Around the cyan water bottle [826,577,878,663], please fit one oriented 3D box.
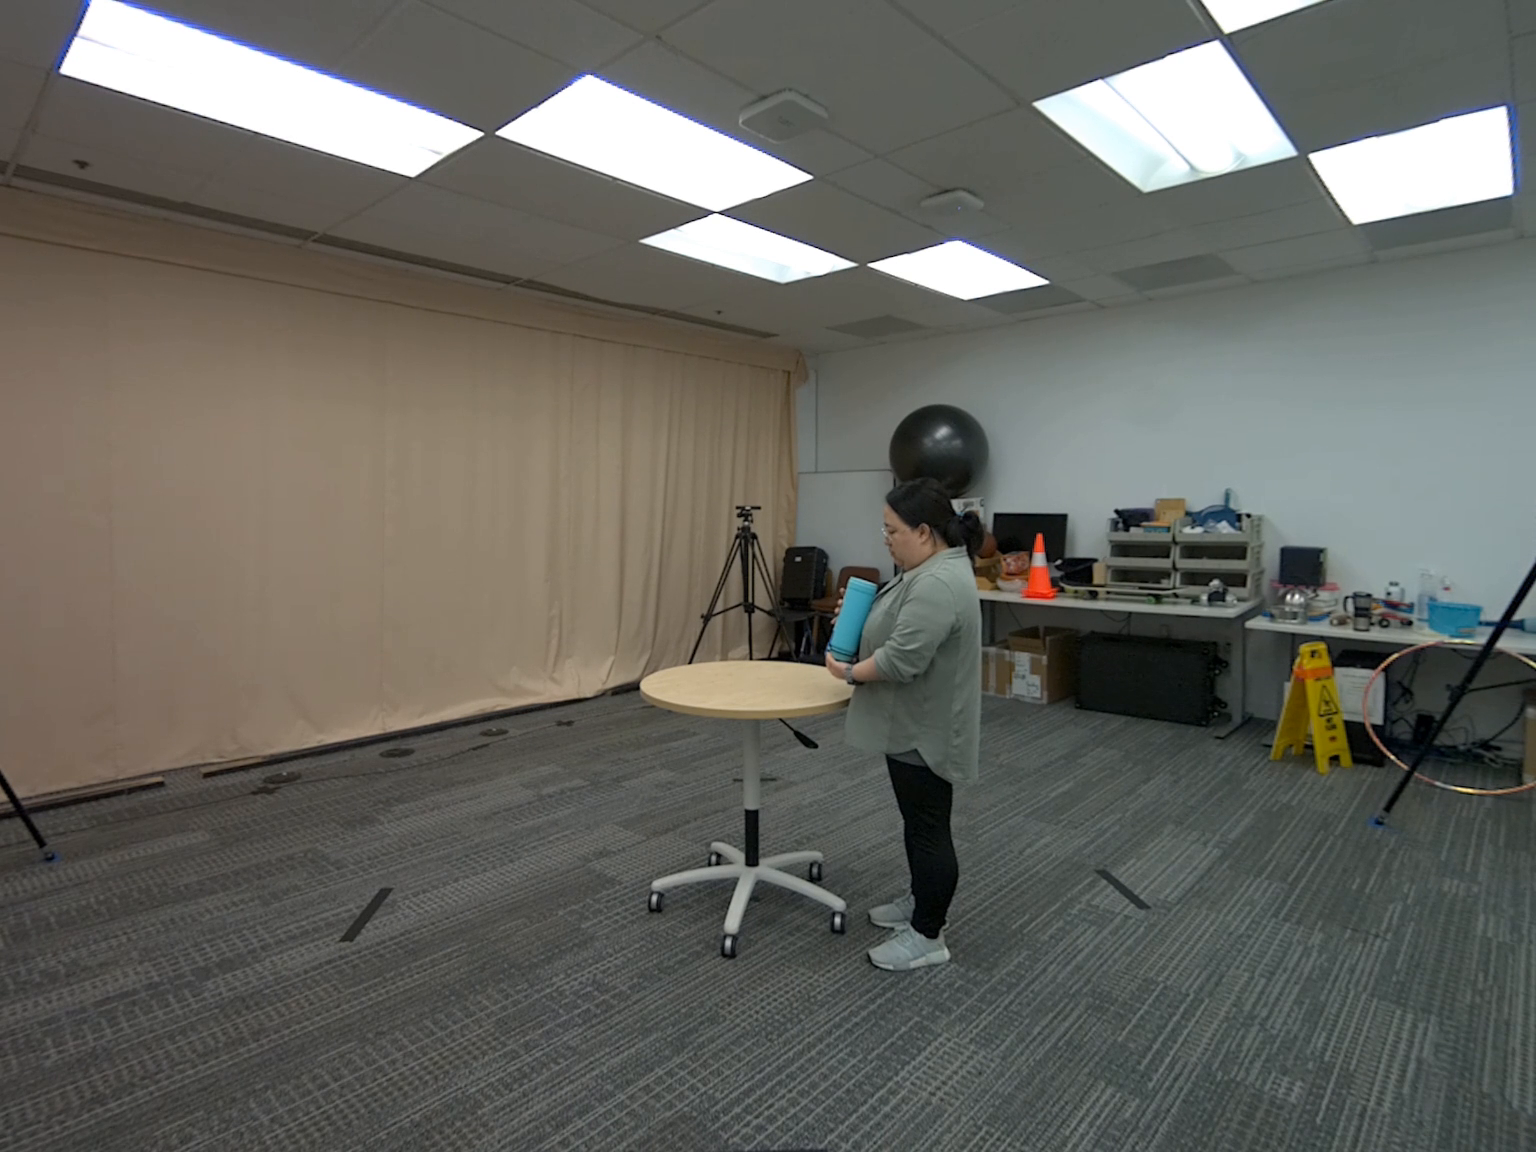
[{"bbox_3d":[0.264,0.155,2.620,0.092,0.283,0.093,19,3,-3],"label":"cyan water bottle"}]
